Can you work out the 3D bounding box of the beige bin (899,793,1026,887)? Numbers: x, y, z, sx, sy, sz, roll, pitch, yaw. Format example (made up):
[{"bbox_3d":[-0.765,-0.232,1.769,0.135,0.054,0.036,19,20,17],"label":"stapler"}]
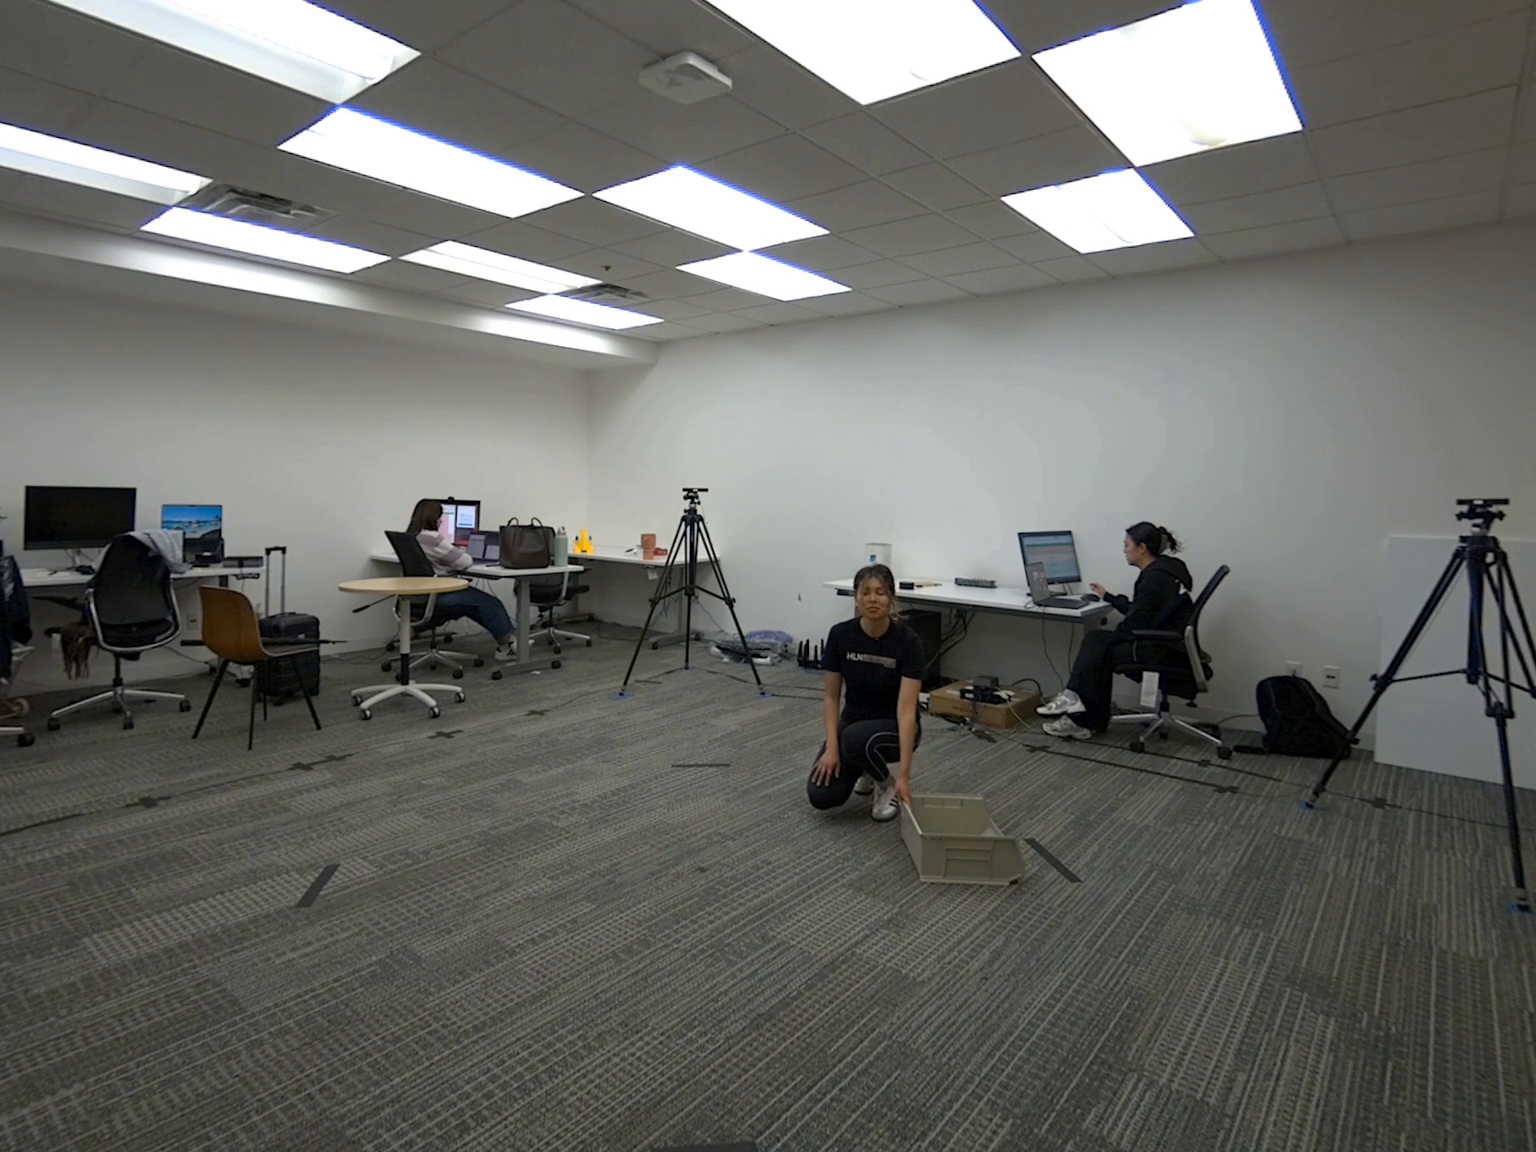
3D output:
[{"bbox_3d":[0.728,0.992,3.245,0.377,0.188,0.424,0,5,-1],"label":"beige bin"}]
